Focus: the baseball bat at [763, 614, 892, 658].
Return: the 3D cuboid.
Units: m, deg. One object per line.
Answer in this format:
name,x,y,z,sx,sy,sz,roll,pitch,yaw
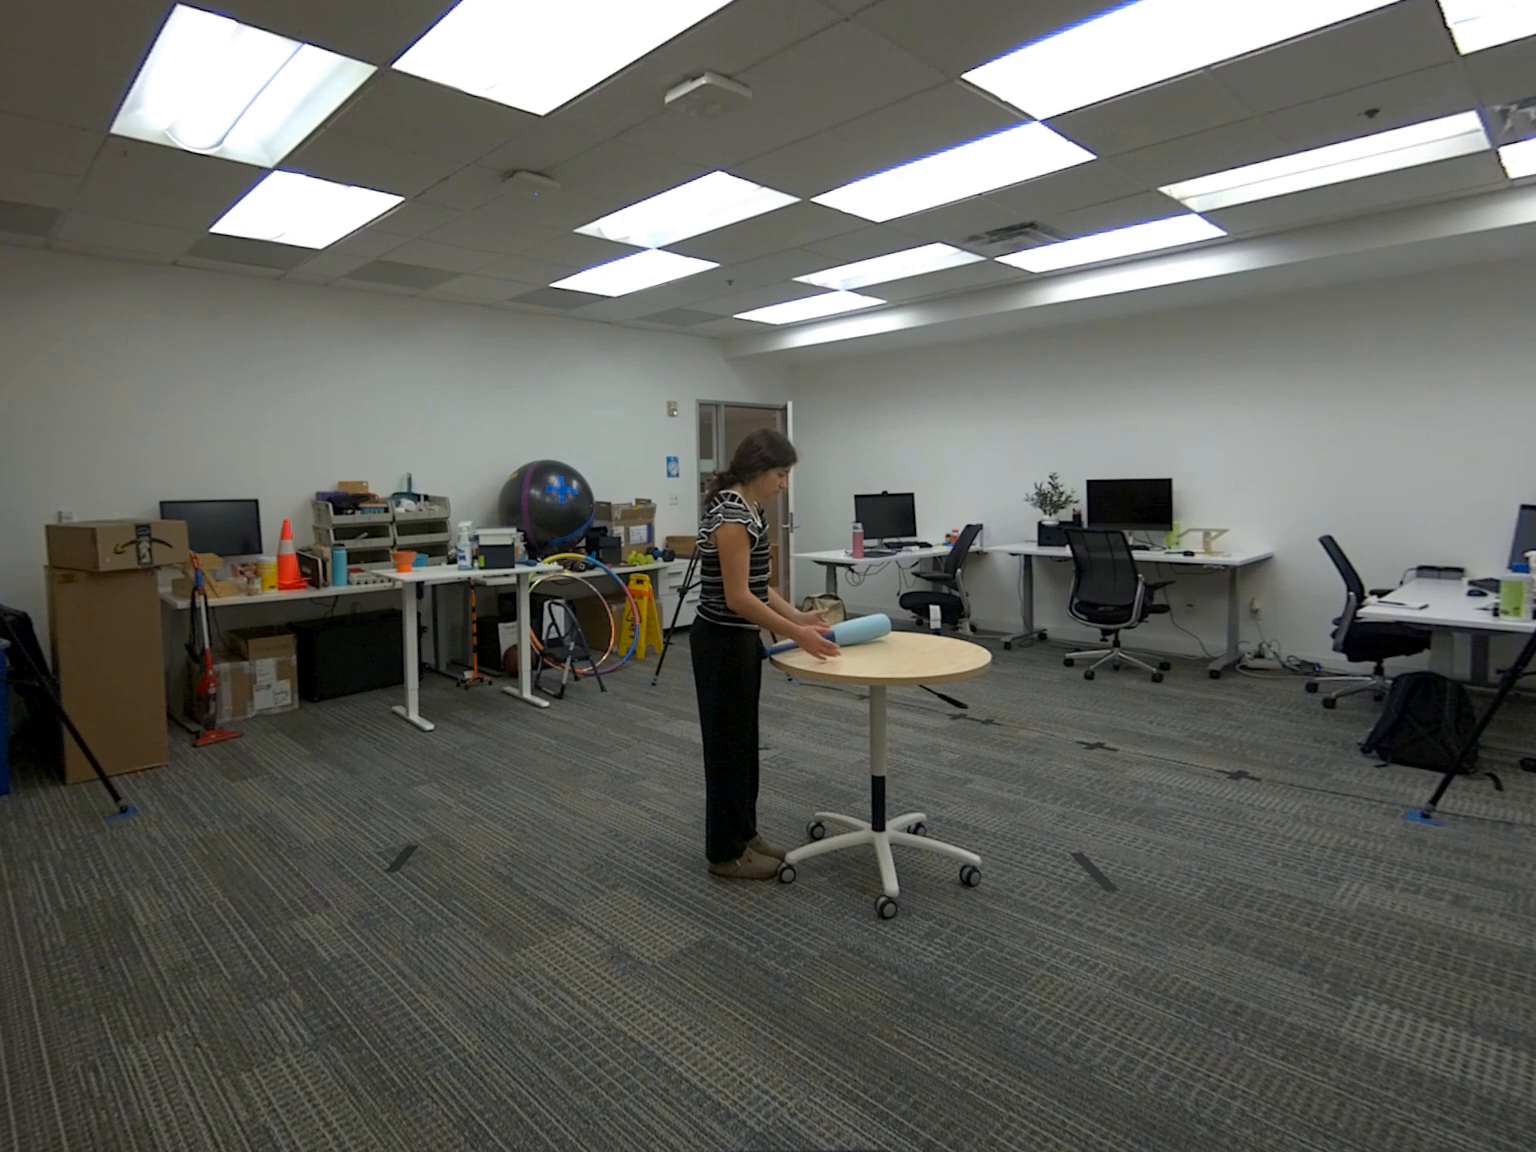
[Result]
baseball bat,0.199,0.223,3.082,0.534,0.088,0.091,-9,8,-22
